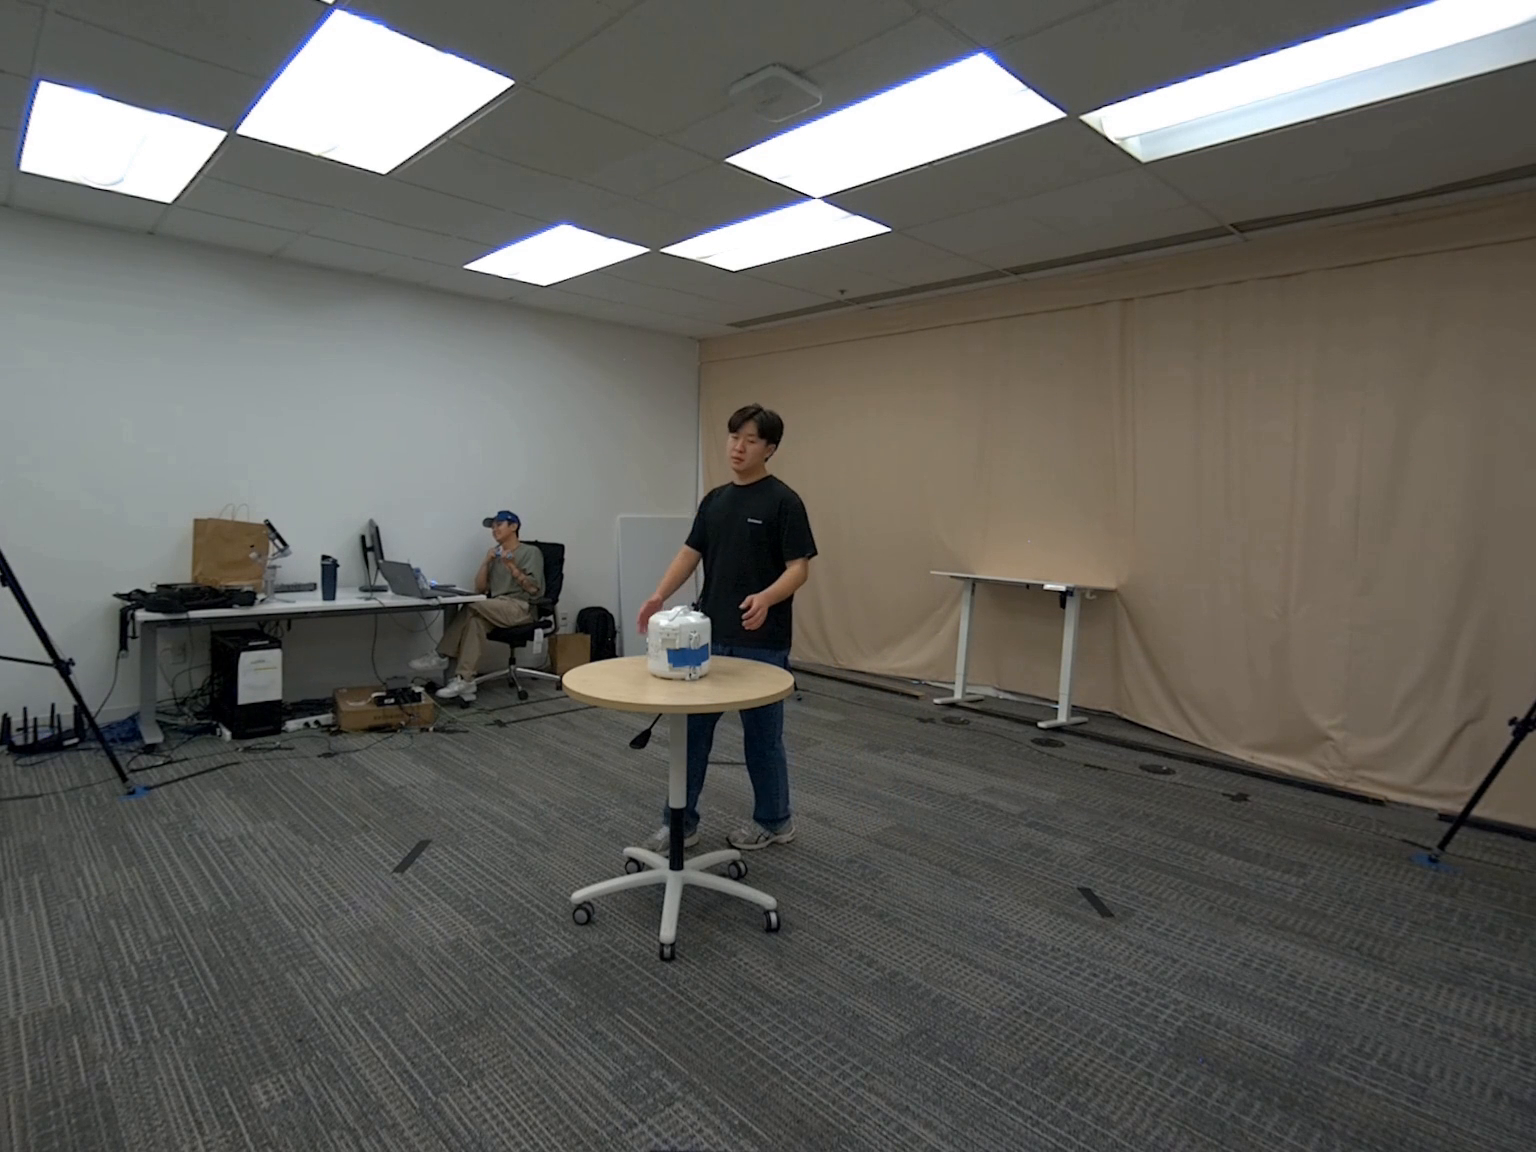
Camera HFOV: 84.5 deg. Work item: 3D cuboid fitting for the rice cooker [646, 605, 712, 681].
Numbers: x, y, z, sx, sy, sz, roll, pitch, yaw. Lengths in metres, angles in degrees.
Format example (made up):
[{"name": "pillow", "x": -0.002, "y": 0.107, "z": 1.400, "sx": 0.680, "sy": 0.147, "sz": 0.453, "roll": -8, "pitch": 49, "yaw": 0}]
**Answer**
[{"name": "rice cooker", "x": -0.305, "y": 0.218, "z": 2.816, "sx": 0.220, "sy": 0.232, "sz": 0.218, "roll": 3, "pitch": 4, "yaw": 15}]
